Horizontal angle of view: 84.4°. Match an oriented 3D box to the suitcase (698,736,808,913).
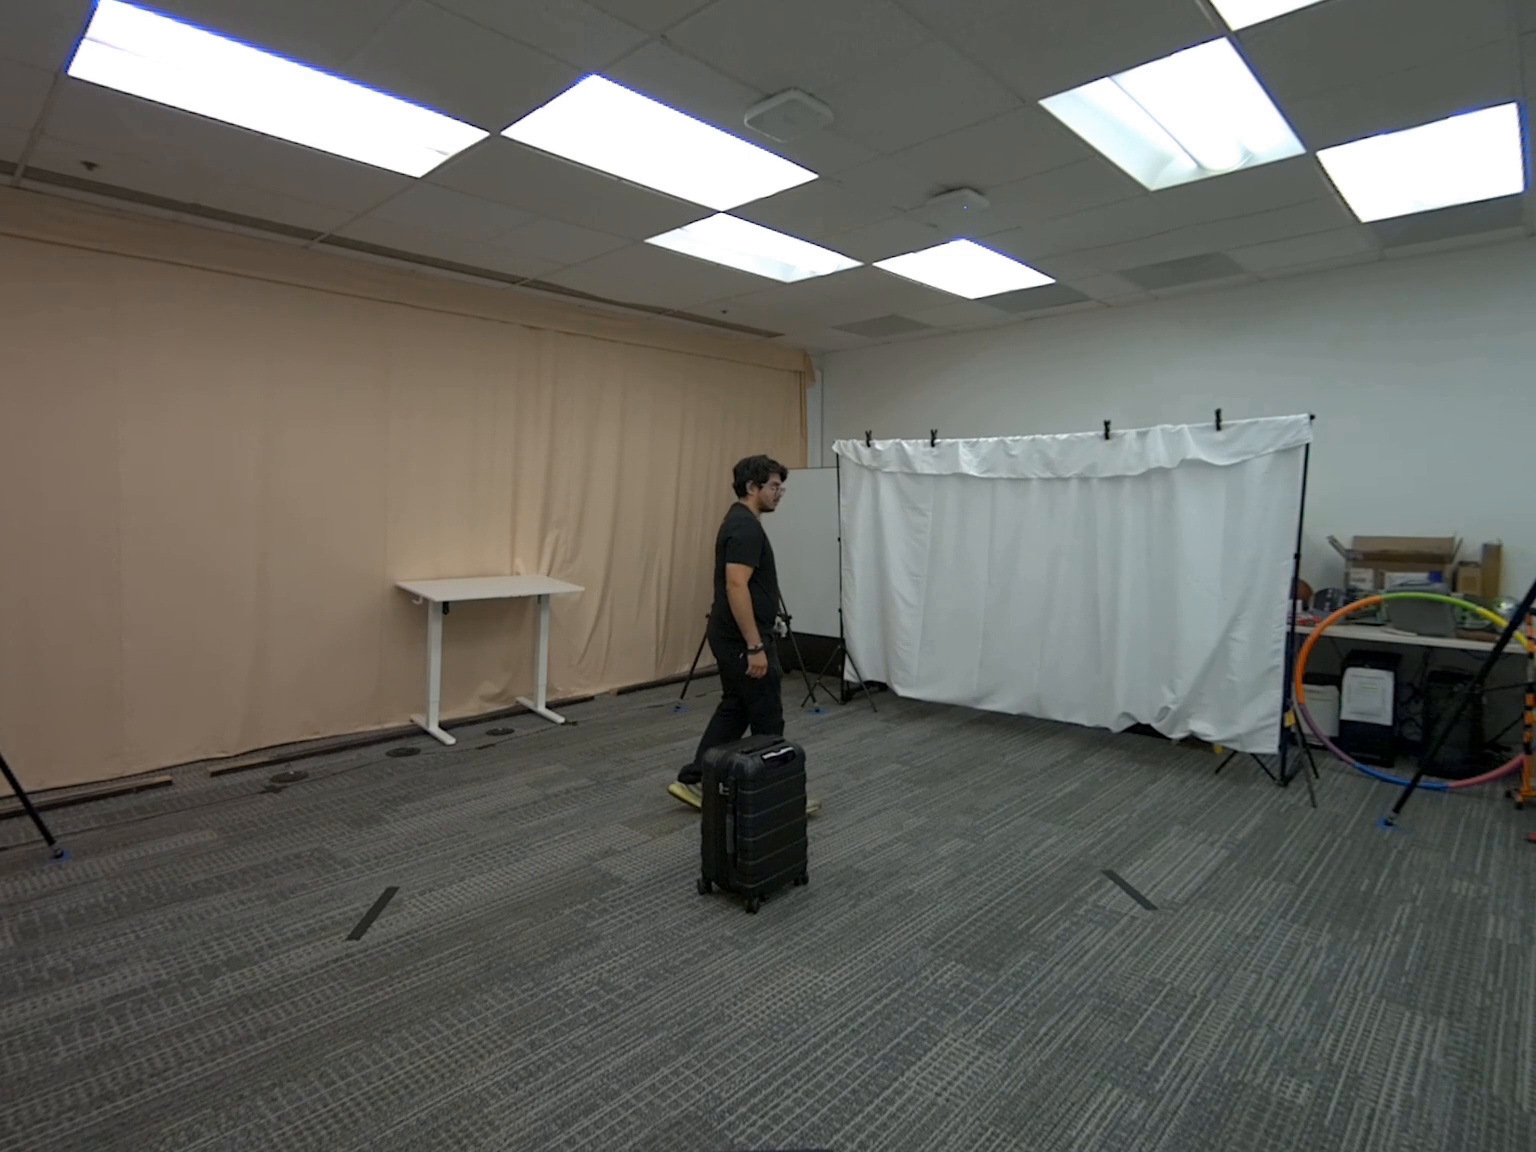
[{"bbox_3d":[-0.047,0.862,3.032,0.256,0.548,0.364,3,6,39],"label":"suitcase"}]
